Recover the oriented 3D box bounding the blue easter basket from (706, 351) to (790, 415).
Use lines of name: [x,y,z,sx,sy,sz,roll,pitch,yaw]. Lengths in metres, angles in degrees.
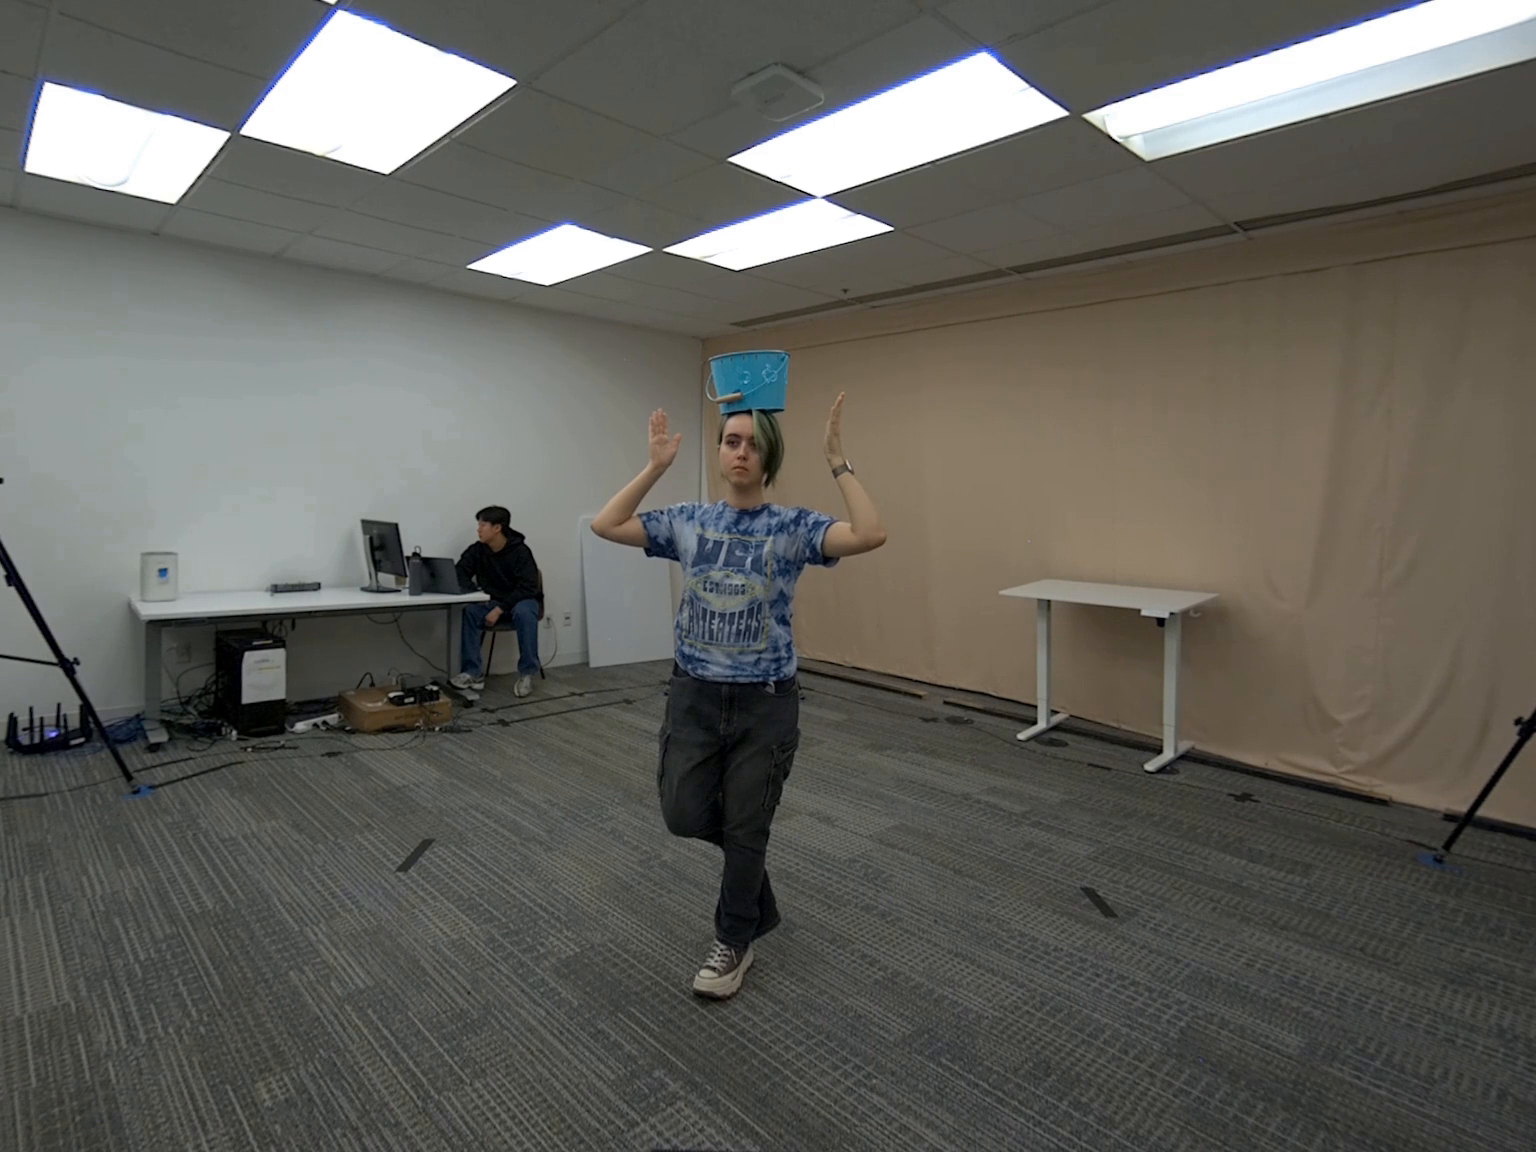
blue easter basket: [-0.053,-0.527,2.346,0.243,0.155,0.245,-4,7,-1]
